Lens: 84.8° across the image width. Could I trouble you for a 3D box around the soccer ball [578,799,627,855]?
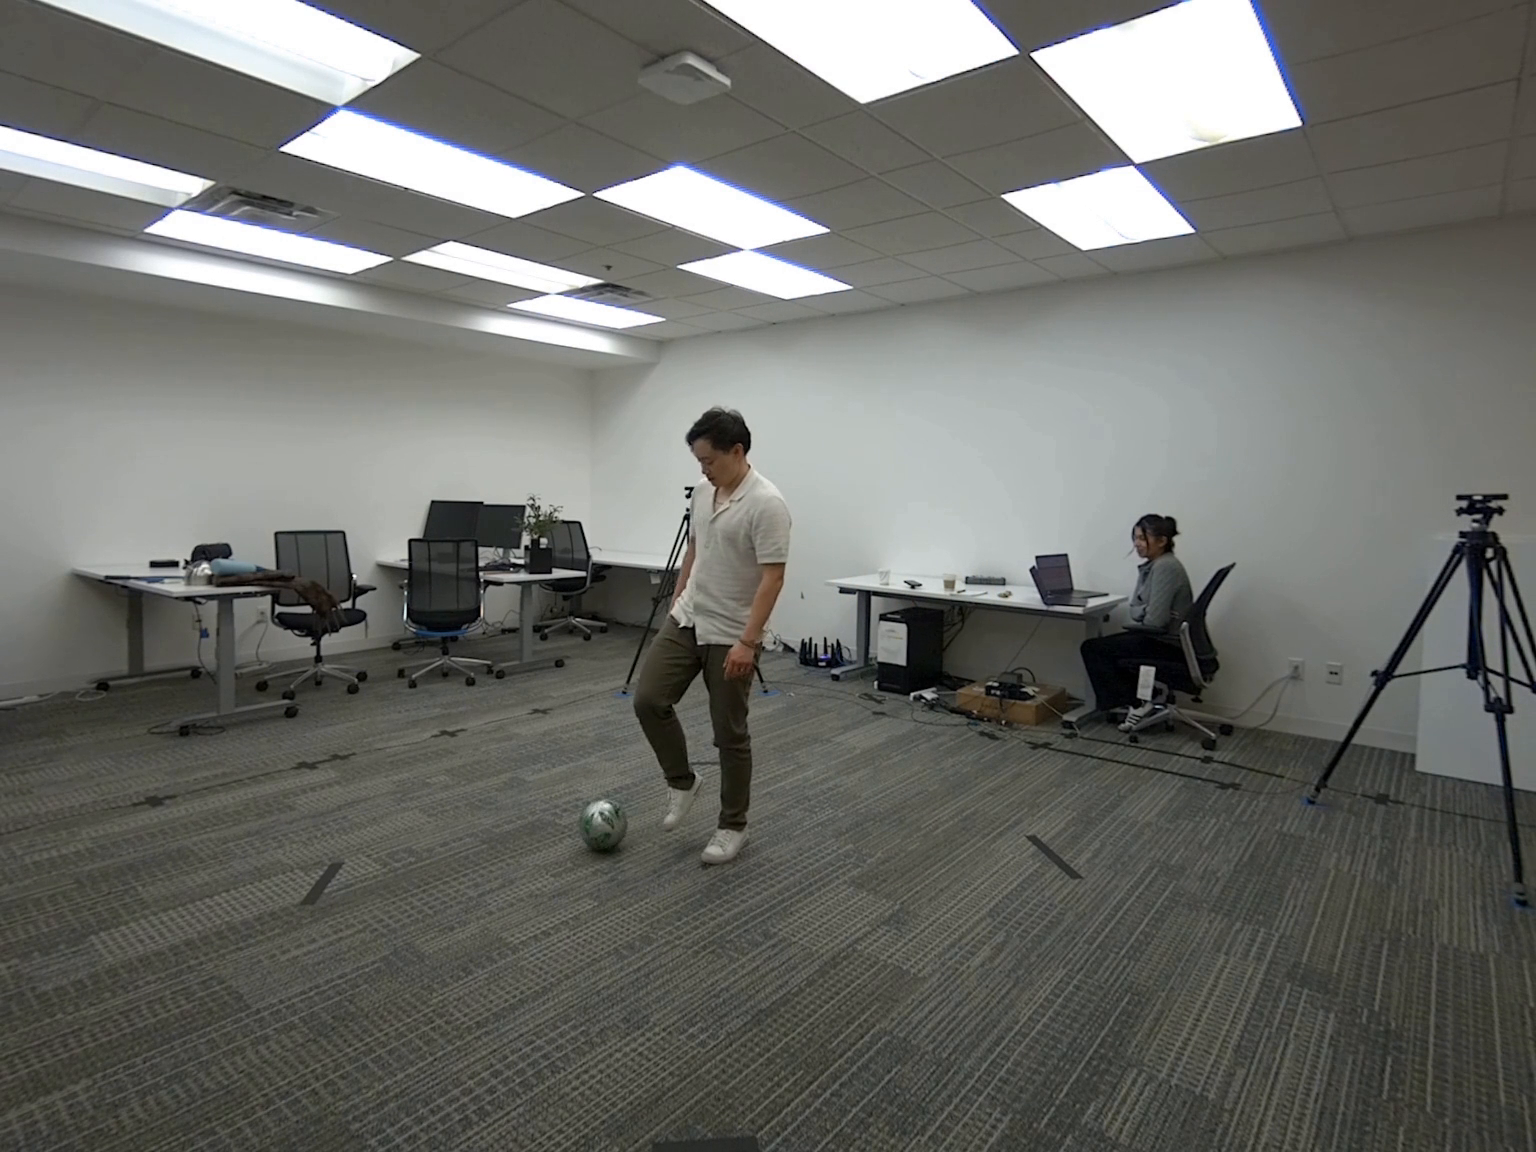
[{"bbox_3d":[-0.641,0.948,3.260,0.187,0.187,0.188,1,4,-2],"label":"soccer ball"}]
